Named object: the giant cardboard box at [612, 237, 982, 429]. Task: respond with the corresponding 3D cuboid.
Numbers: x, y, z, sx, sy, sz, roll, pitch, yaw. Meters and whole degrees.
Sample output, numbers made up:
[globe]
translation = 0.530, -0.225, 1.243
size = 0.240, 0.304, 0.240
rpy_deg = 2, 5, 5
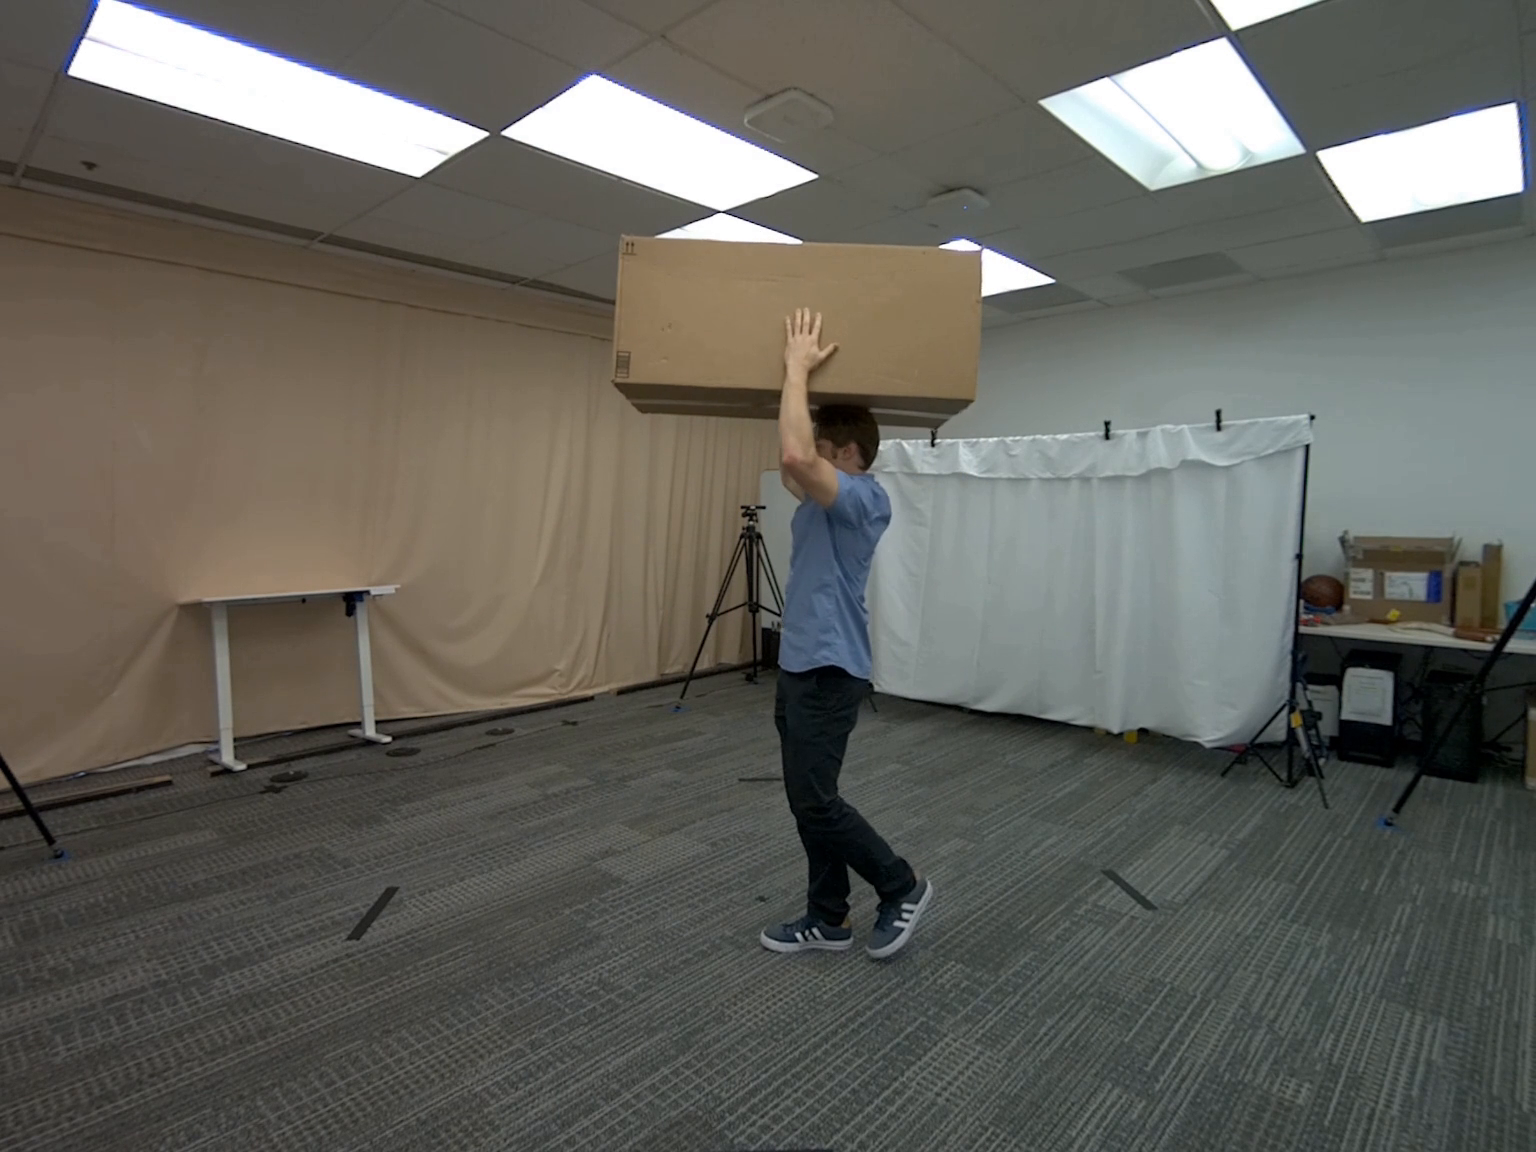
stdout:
[giant cardboard box]
translation = 0.083, -0.737, 2.632
size = 1.031, 0.426, 0.575
rpy_deg = 4, 1, 3
